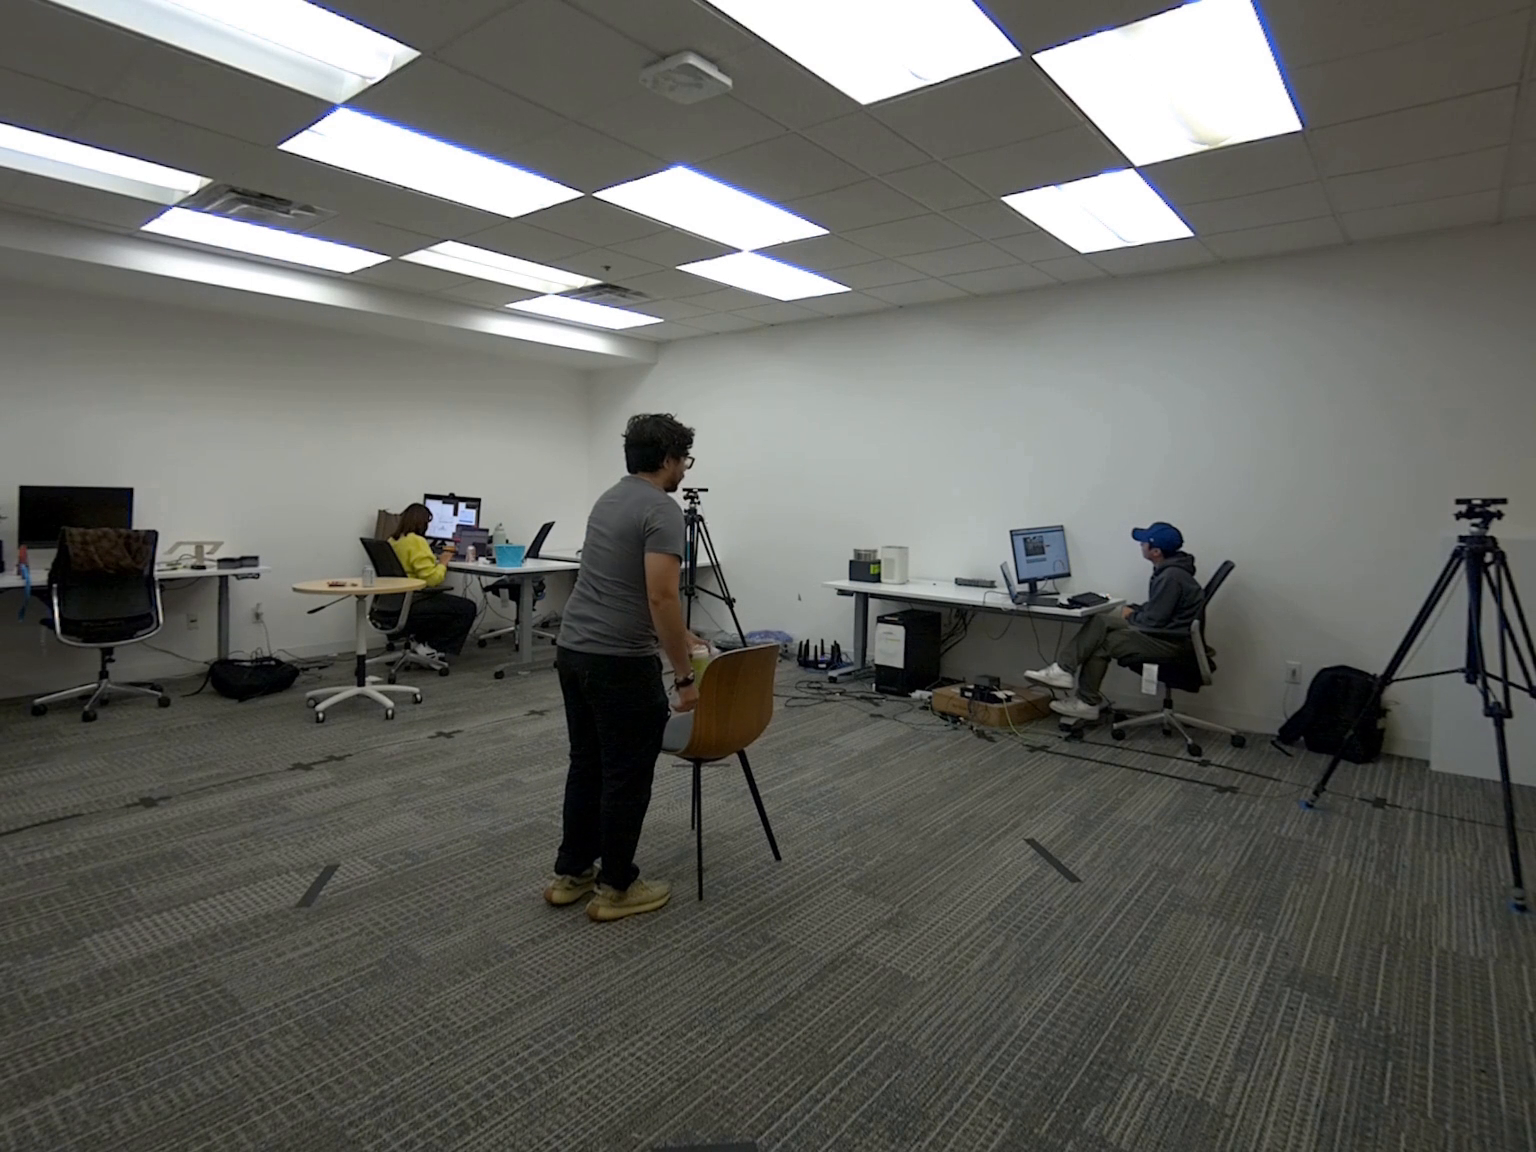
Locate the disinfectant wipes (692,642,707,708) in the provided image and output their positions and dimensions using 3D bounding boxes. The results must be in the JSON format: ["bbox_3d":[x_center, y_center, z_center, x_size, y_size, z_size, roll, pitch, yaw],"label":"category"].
[{"bbox_3d":[-0.295,0.372,3.187,0.118,0.216,0.119,-1,7,-2],"label":"disinfectant wipes"}]
